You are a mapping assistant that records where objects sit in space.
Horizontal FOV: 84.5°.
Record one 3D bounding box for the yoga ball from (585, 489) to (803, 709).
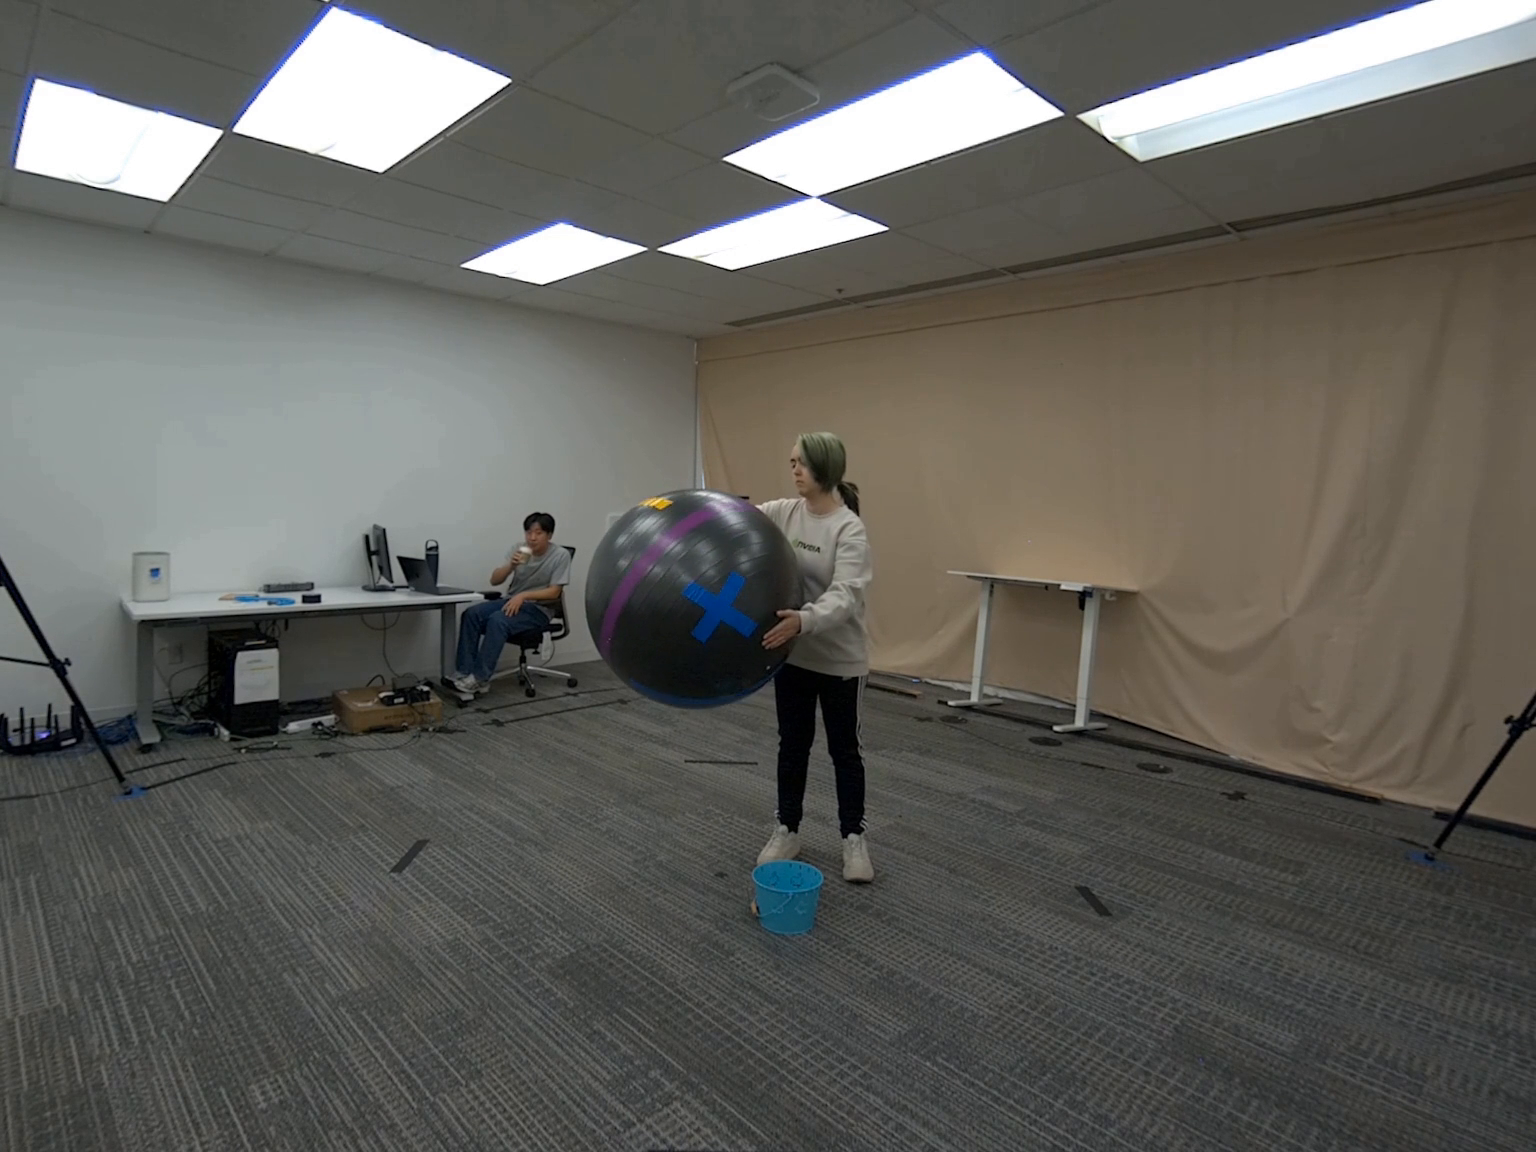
[{"bbox_3d":[-0.266,0.082,2.908,0.757,0.756,0.761,1,4,-1],"label":"yoga ball"}]
